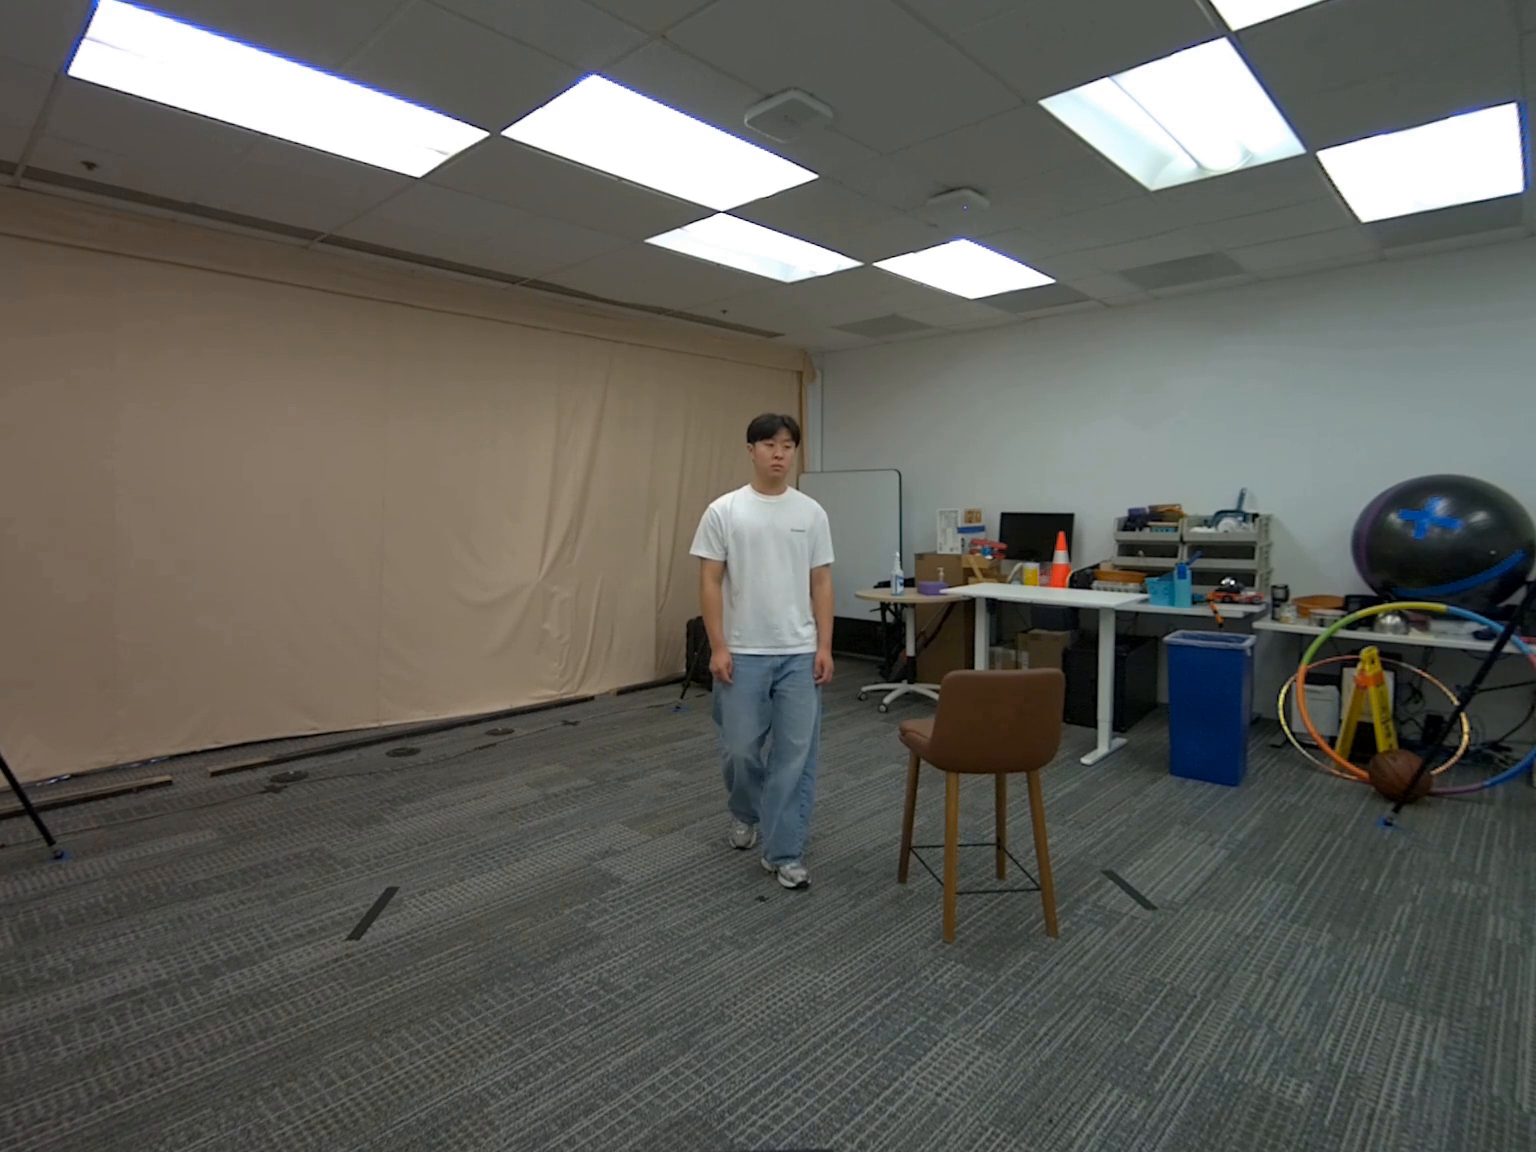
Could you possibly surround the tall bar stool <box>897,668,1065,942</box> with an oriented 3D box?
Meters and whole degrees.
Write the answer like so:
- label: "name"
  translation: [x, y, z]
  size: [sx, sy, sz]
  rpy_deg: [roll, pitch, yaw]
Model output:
- label: "tall bar stool"
  translation: [0.723, 0.717, 2.880]
  size: [0.453, 0.887, 0.473]
  rpy_deg: [0, 5, -8]
